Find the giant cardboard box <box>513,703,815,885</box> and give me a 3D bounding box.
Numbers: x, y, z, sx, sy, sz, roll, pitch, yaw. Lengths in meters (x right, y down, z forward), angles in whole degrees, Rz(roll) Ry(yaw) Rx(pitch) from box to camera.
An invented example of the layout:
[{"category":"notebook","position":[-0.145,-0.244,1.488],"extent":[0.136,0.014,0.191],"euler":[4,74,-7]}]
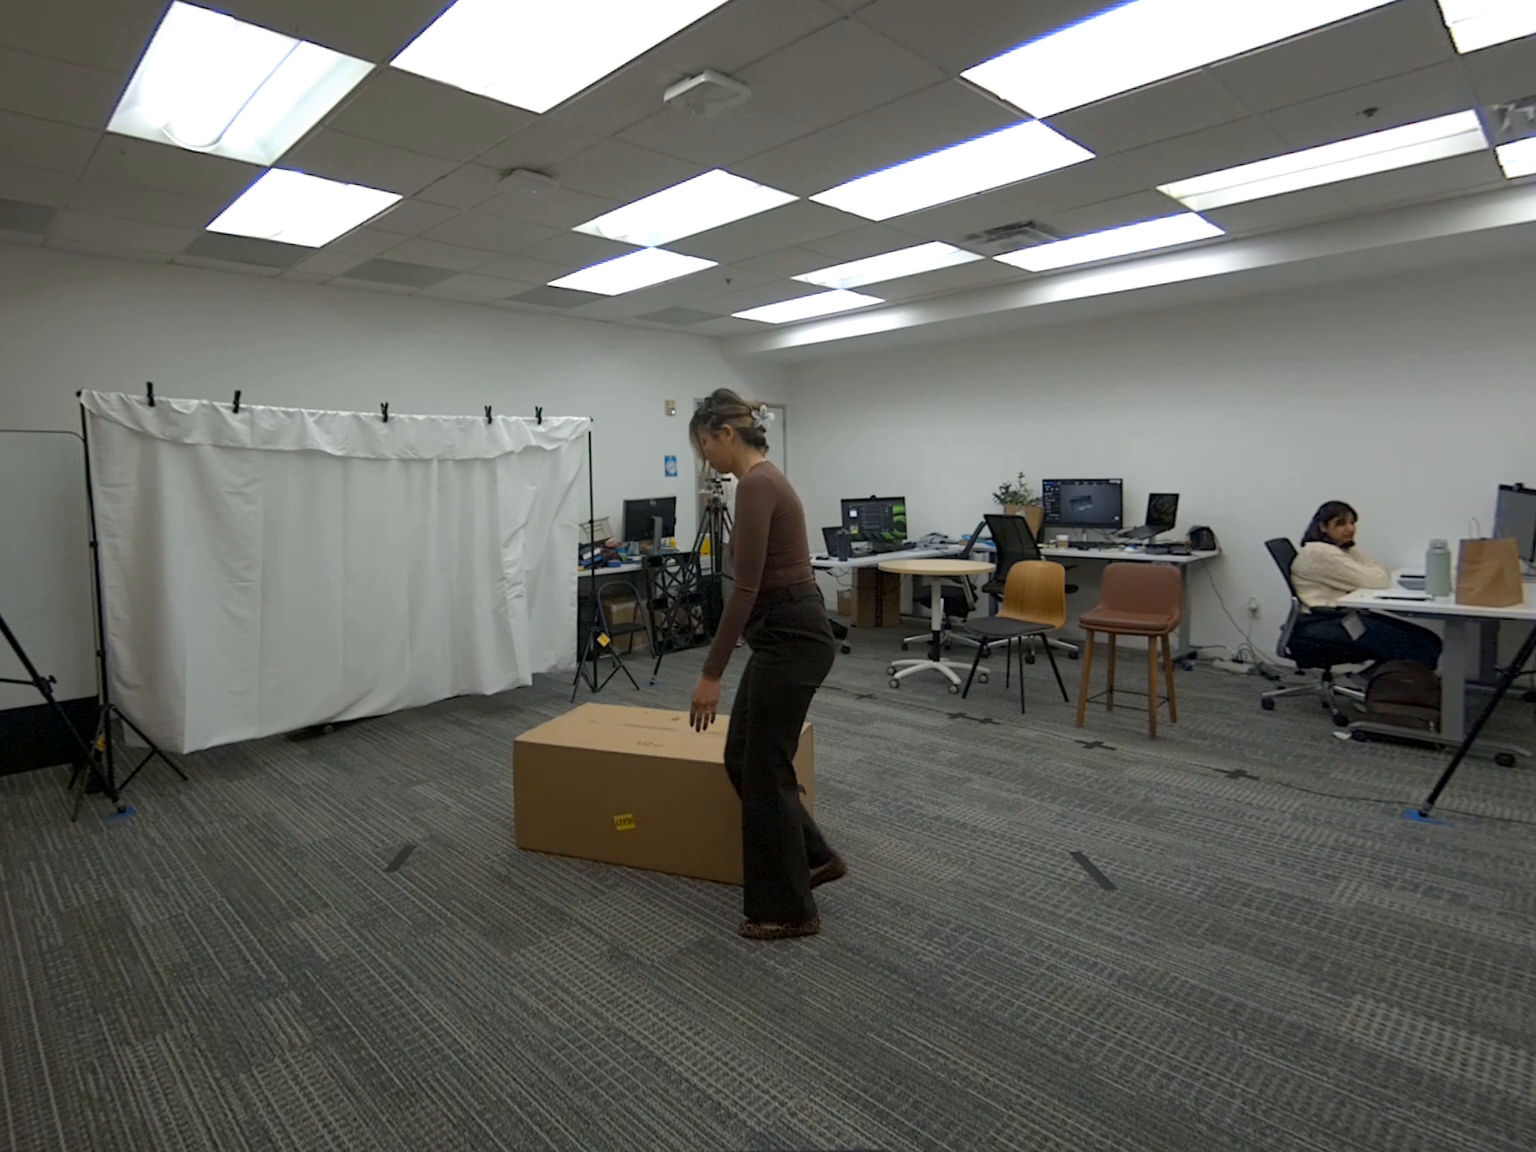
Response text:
[{"category":"giant cardboard box","position":[-0.395,0.811,3.332],"extent":[1.048,0.444,0.575],"euler":[1,7,21]}]
